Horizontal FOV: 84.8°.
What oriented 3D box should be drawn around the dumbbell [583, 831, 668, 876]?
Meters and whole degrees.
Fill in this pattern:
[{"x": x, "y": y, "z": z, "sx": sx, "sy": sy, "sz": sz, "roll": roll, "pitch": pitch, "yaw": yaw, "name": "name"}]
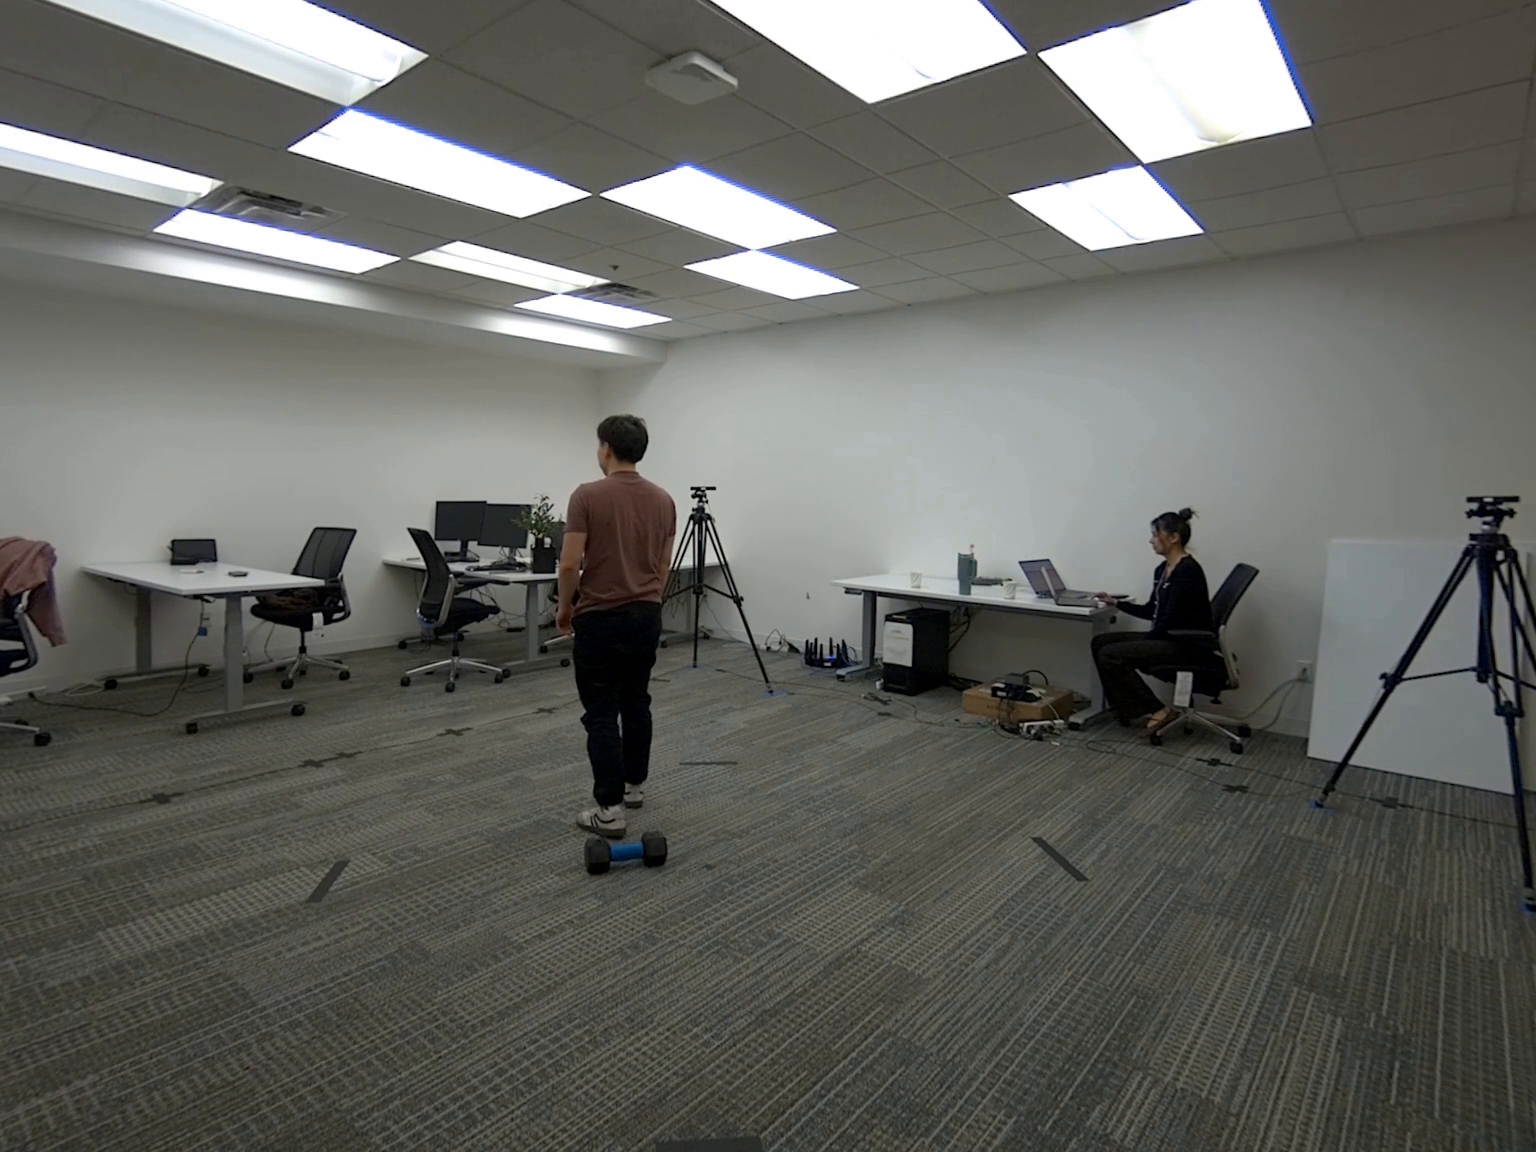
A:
[{"x": -0.530, "y": 1.006, "z": 3.111, "sx": 0.288, "sy": 0.108, "sz": 0.125, "roll": -1, "pitch": 4, "yaw": -18, "name": "dumbbell"}]
